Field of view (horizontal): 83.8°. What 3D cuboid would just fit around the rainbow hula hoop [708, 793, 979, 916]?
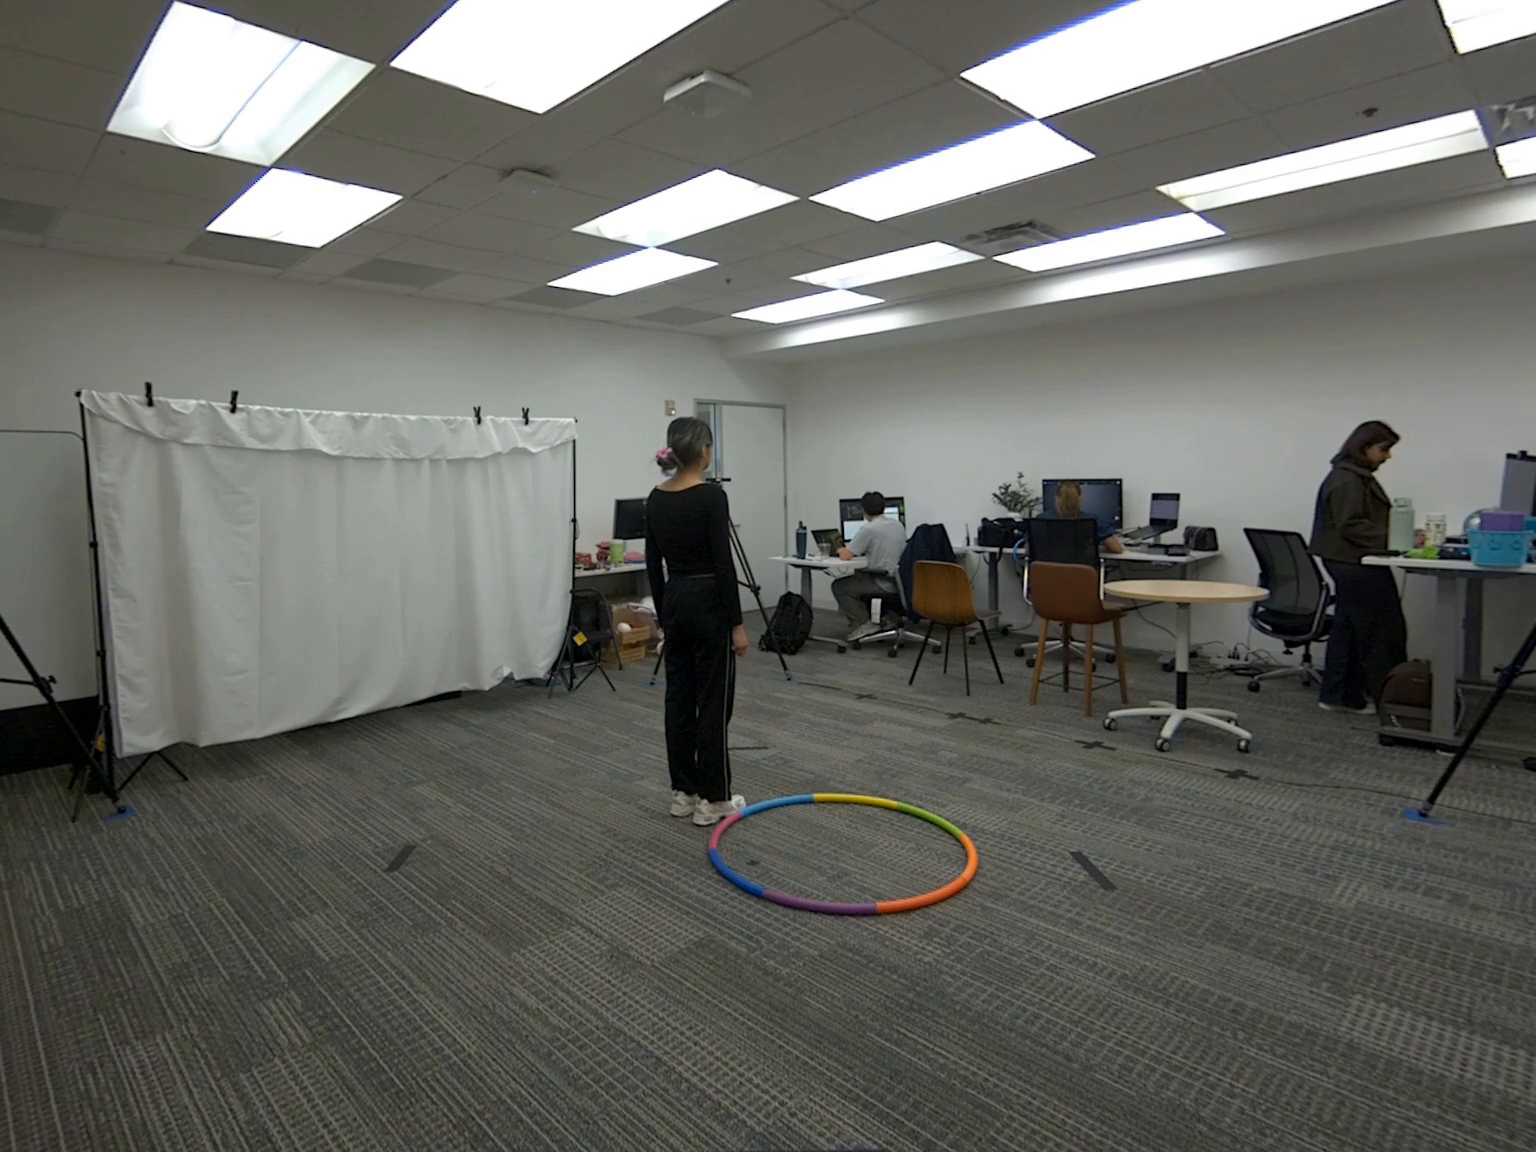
[{"bbox_3d":[0.266,0.994,3.196,0.978,0.035,0.984,-1,6,-2],"label":"rainbow hula hoop"}]
